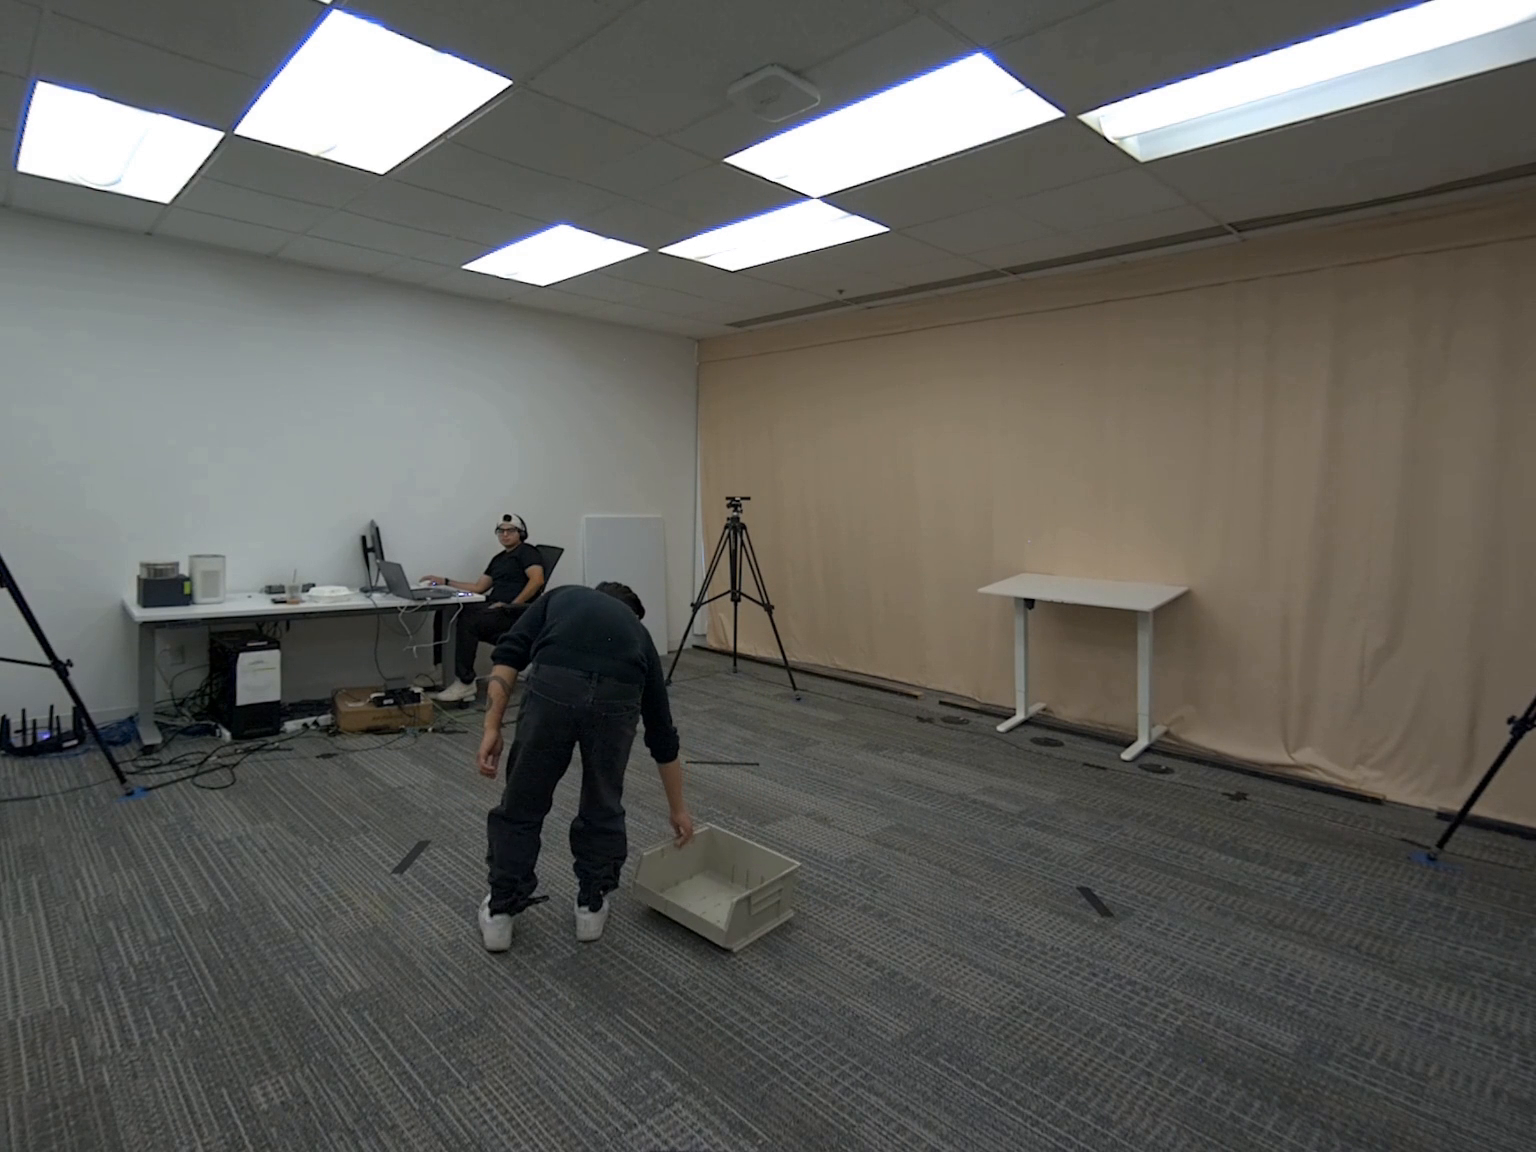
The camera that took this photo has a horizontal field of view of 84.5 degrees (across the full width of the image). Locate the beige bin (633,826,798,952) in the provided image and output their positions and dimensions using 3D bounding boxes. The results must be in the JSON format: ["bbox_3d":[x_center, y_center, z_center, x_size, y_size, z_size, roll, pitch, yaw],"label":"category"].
[{"bbox_3d":[-0.178,1.031,2.801,0.433,0.188,0.369,9,7,38],"label":"beige bin"}]
